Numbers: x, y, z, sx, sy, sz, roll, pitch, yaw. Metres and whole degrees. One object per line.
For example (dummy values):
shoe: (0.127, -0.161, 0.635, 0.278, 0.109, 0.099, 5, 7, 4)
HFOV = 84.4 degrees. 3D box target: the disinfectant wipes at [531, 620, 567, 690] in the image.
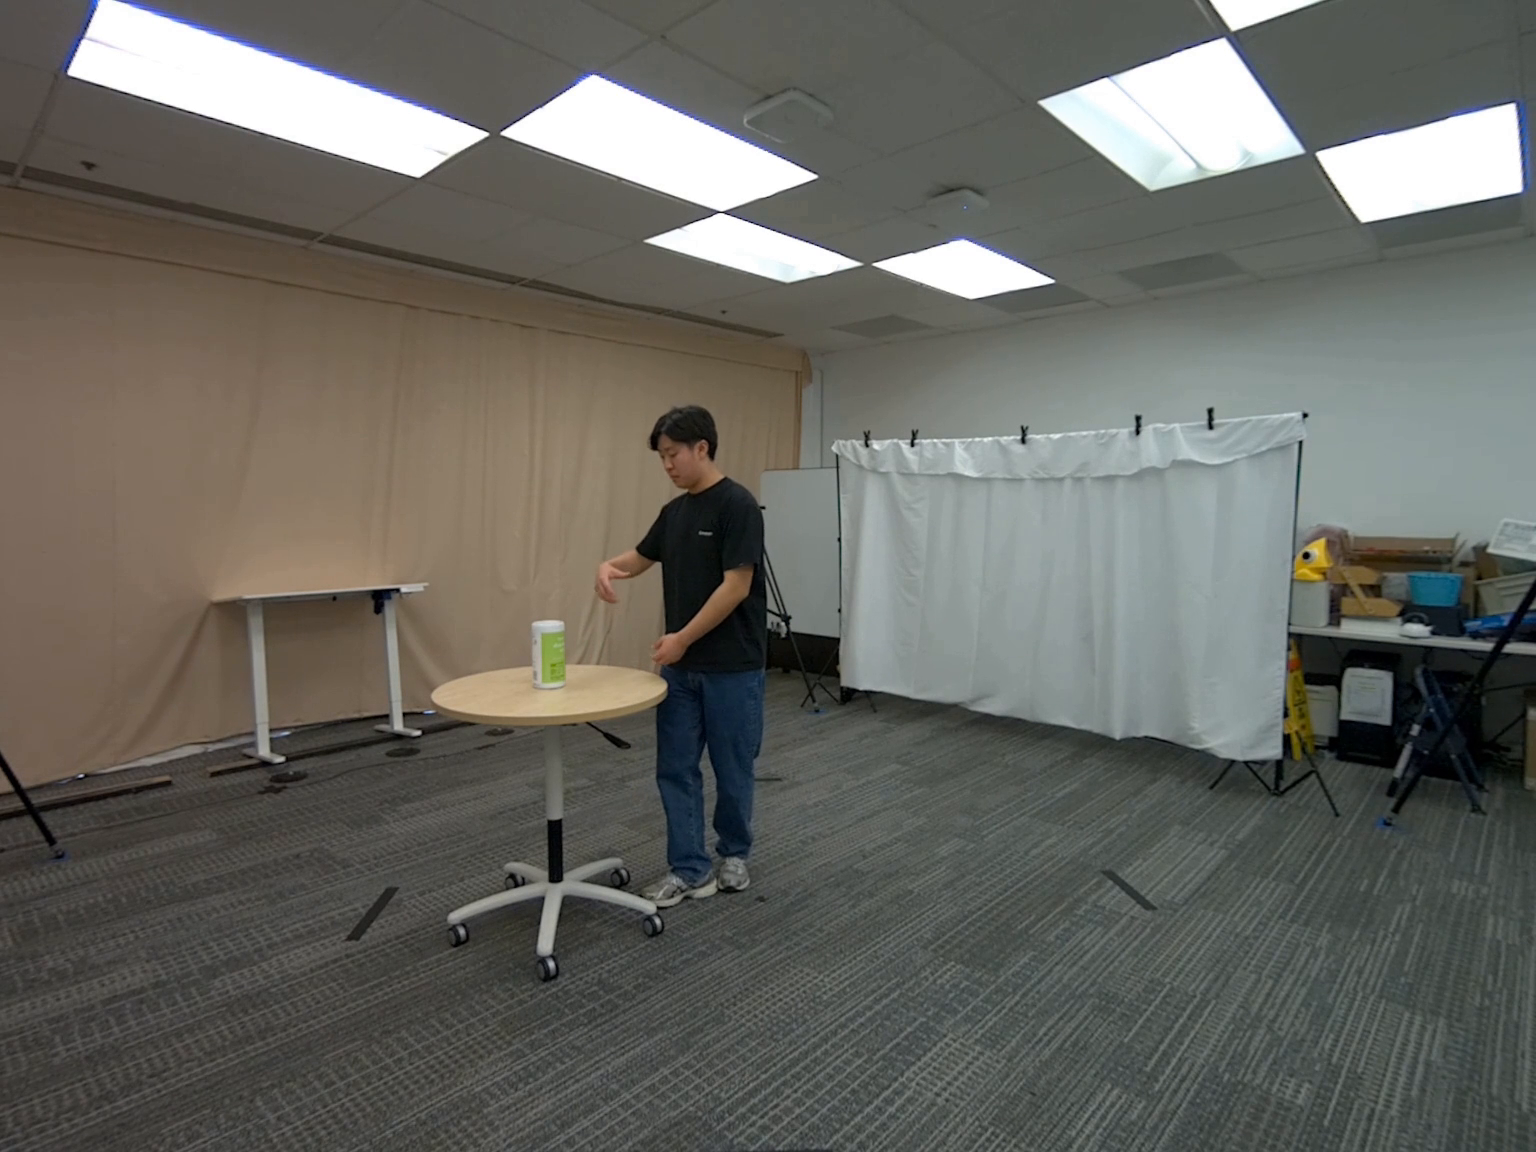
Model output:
disinfectant wipes: (-0.733, 0.262, 2.812, 0.118, 0.217, 0.118, 0, 3, -2)
